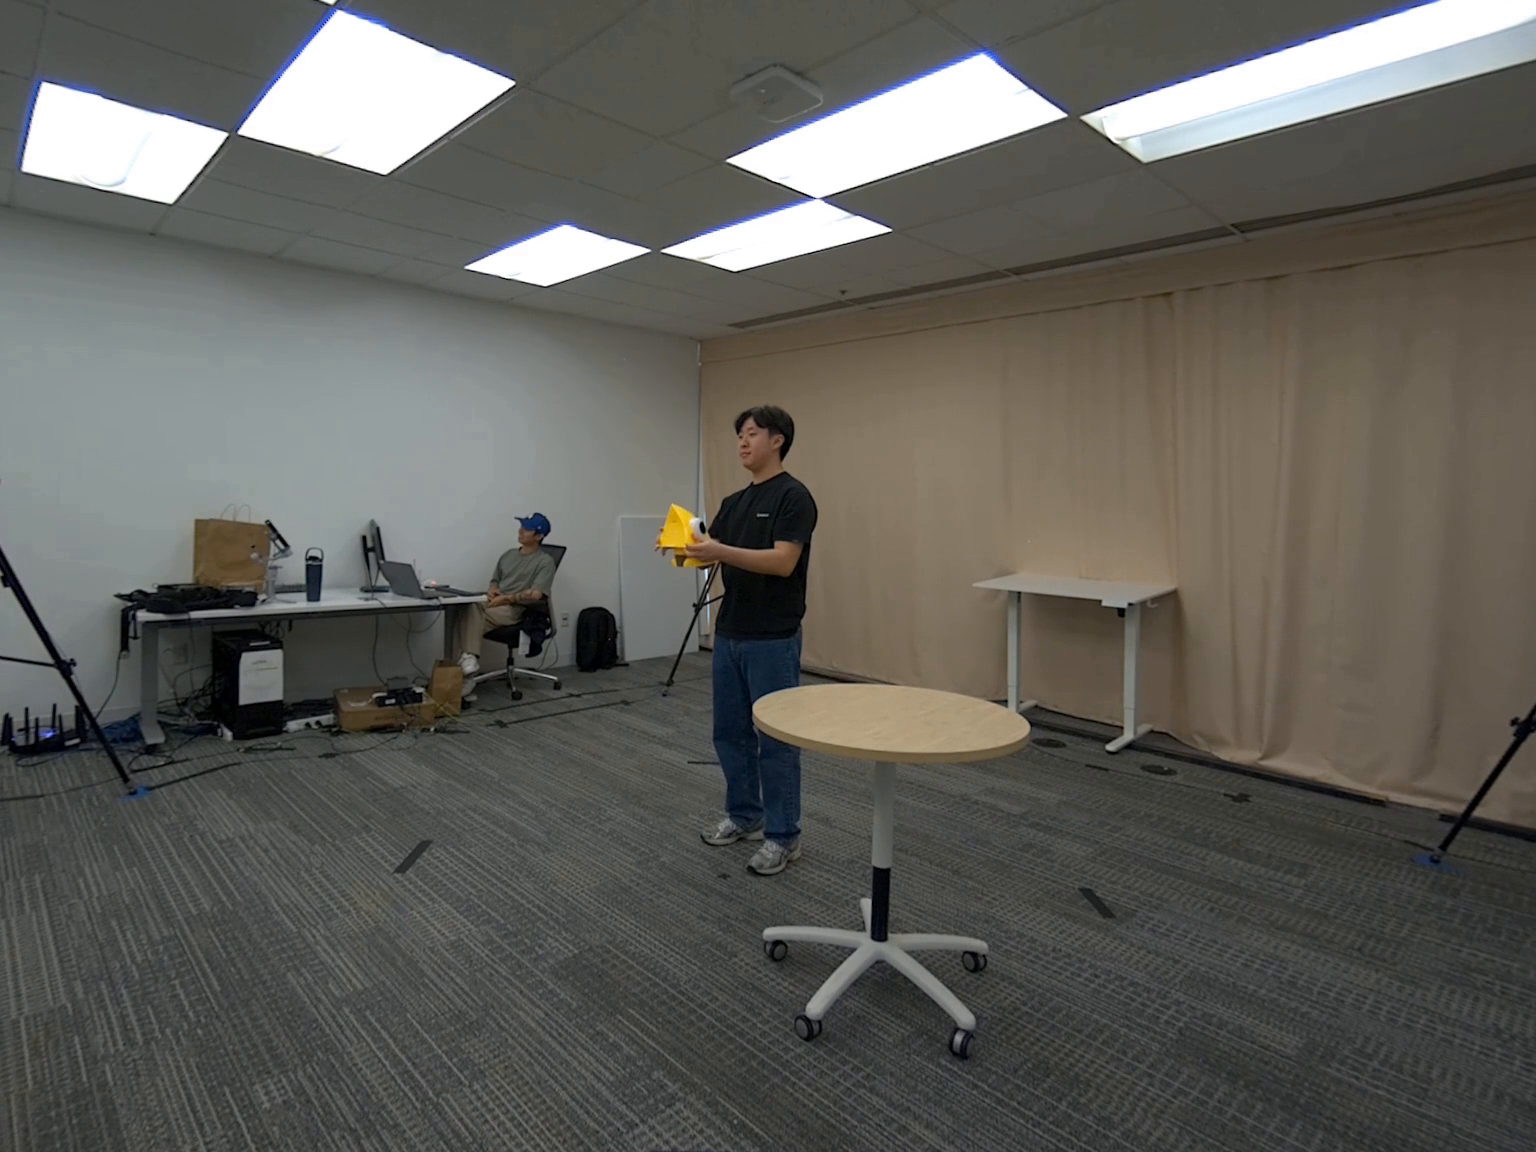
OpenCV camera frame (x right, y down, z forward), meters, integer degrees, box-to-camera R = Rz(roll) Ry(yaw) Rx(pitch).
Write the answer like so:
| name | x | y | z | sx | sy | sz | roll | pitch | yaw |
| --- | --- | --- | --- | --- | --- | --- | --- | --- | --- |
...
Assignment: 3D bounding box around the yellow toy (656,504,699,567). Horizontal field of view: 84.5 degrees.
| name | x | y | z | sx | sy | sz | roll | pitch | yaw |
| --- | --- | --- | --- | --- | --- | --- | --- | --- | --- |
| yellow toy | -0.295 | -0.161 | 3.101 | 0.190 | 0.229 | 0.209 | -15 | 10 | -36 |
